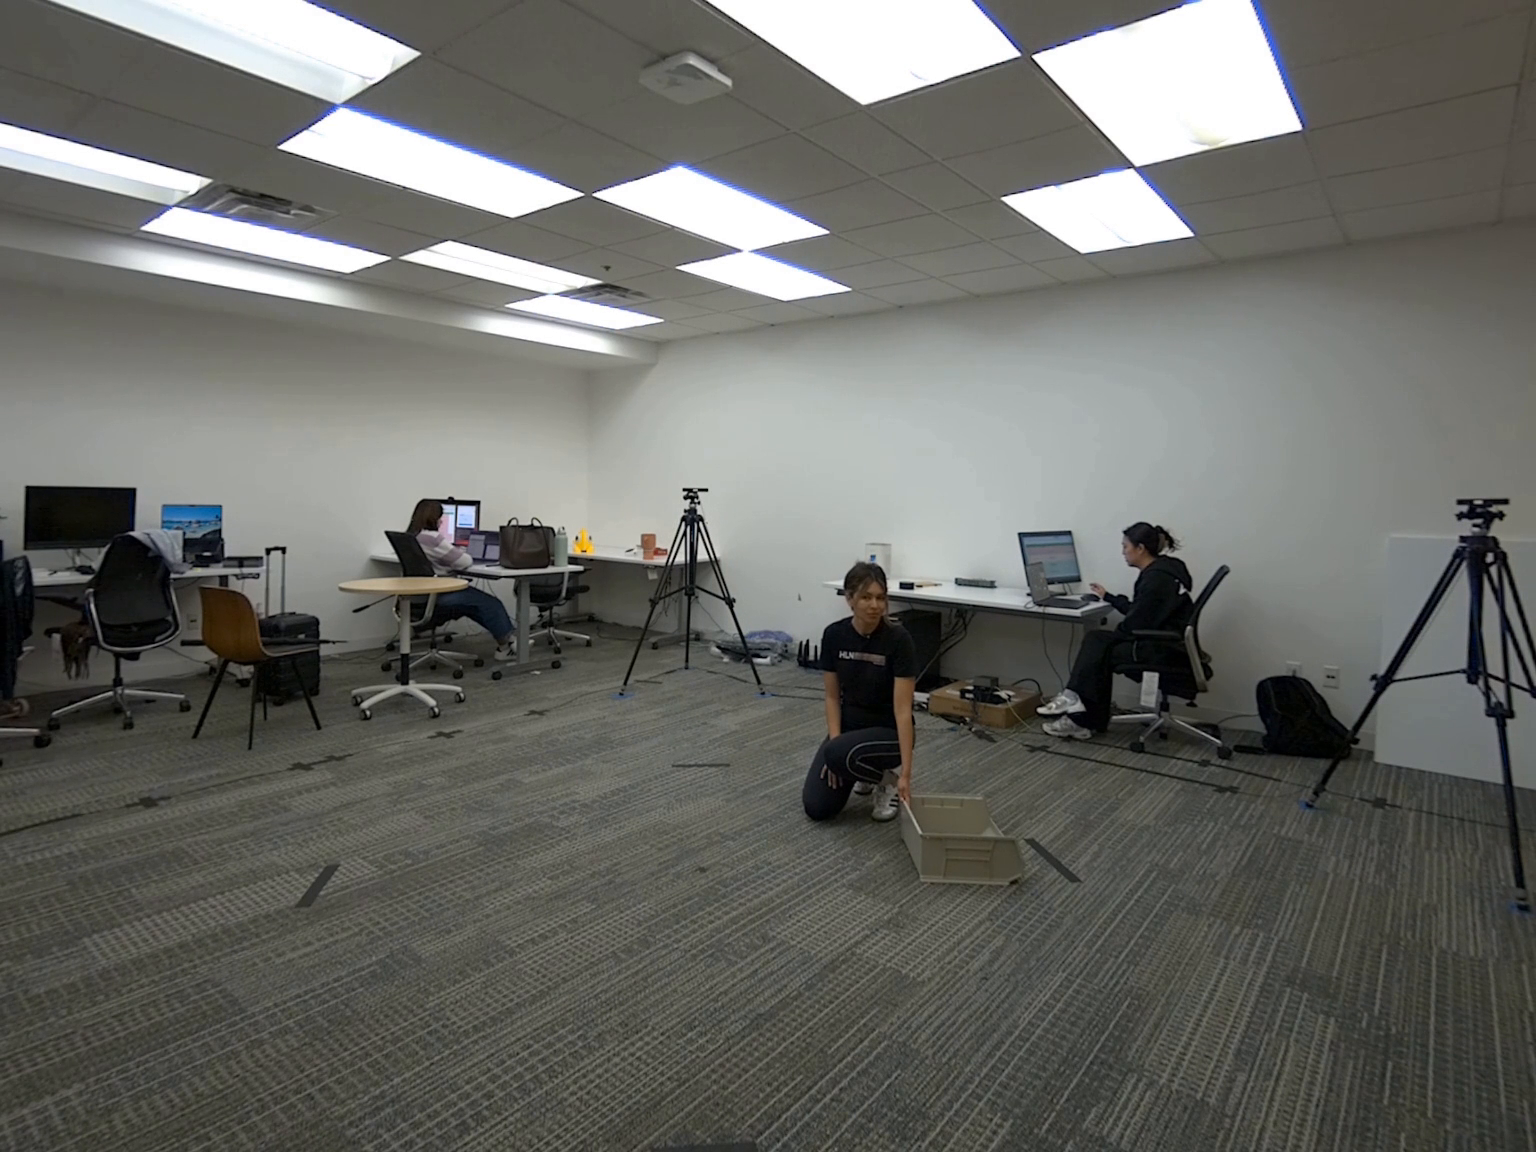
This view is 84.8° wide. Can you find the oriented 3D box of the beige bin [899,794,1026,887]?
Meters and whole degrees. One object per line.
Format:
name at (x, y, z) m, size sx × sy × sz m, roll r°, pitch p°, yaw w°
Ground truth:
beige bin at (0.723, 0.990, 3.245) m, size 0.377 × 0.188 × 0.424 m, roll 0°, pitch 5°, yaw -1°
